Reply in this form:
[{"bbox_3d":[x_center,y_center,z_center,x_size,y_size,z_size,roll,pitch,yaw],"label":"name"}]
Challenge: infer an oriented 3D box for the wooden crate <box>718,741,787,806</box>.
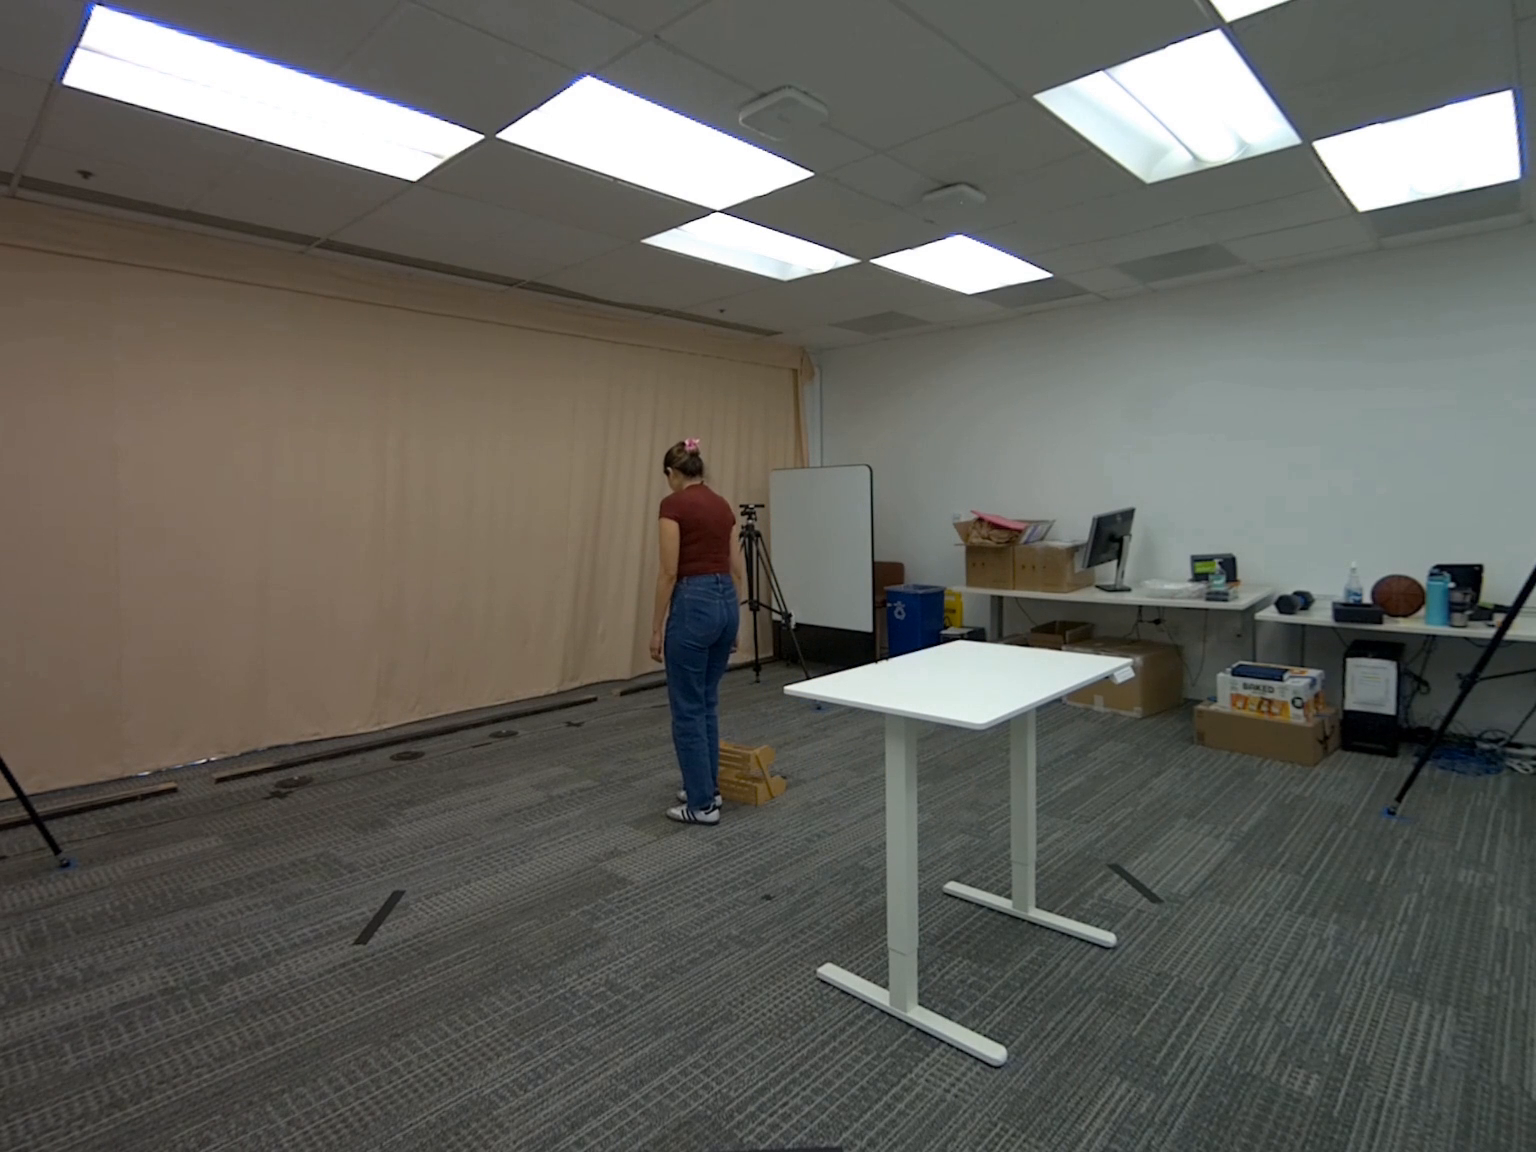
[{"bbox_3d":[-0.119,0.920,4.067,0.334,0.272,0.293,1,5,36],"label":"wooden crate"}]
